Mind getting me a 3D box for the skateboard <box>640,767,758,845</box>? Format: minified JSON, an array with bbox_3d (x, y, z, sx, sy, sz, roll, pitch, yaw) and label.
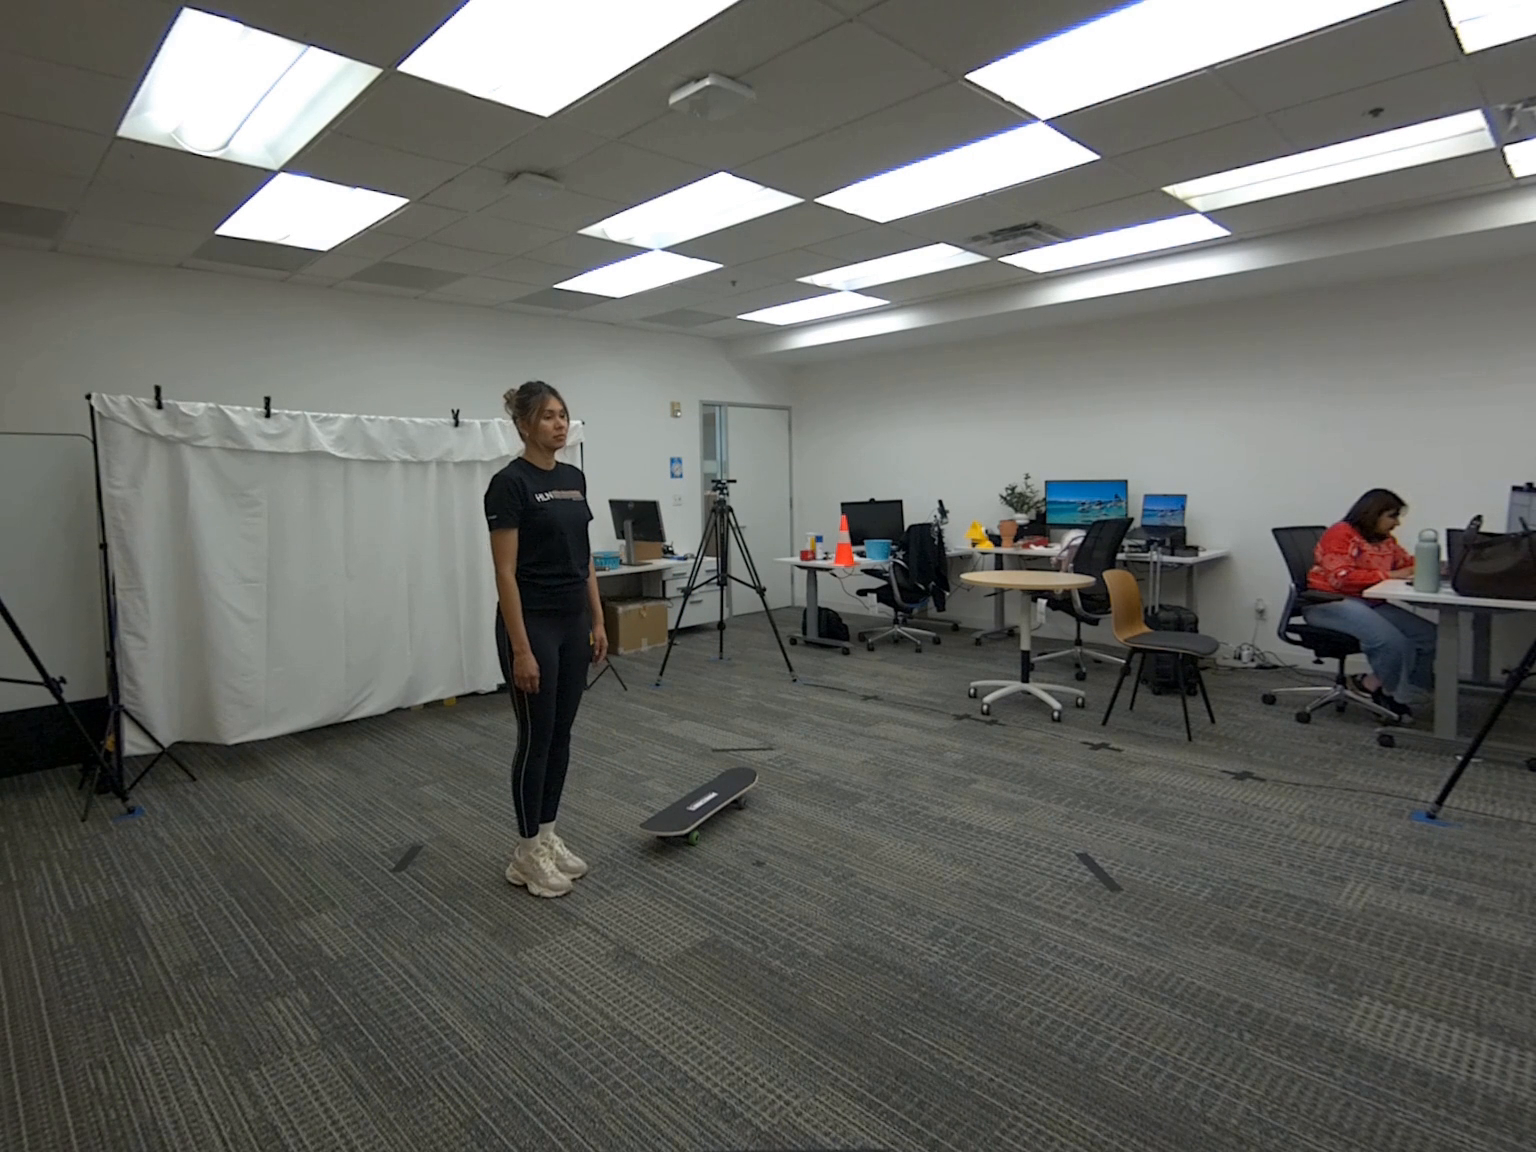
[{"bbox_3d":[-0.264,0.950,3.495,0.198,0.110,0.770,1,7,26],"label":"skateboard"}]
